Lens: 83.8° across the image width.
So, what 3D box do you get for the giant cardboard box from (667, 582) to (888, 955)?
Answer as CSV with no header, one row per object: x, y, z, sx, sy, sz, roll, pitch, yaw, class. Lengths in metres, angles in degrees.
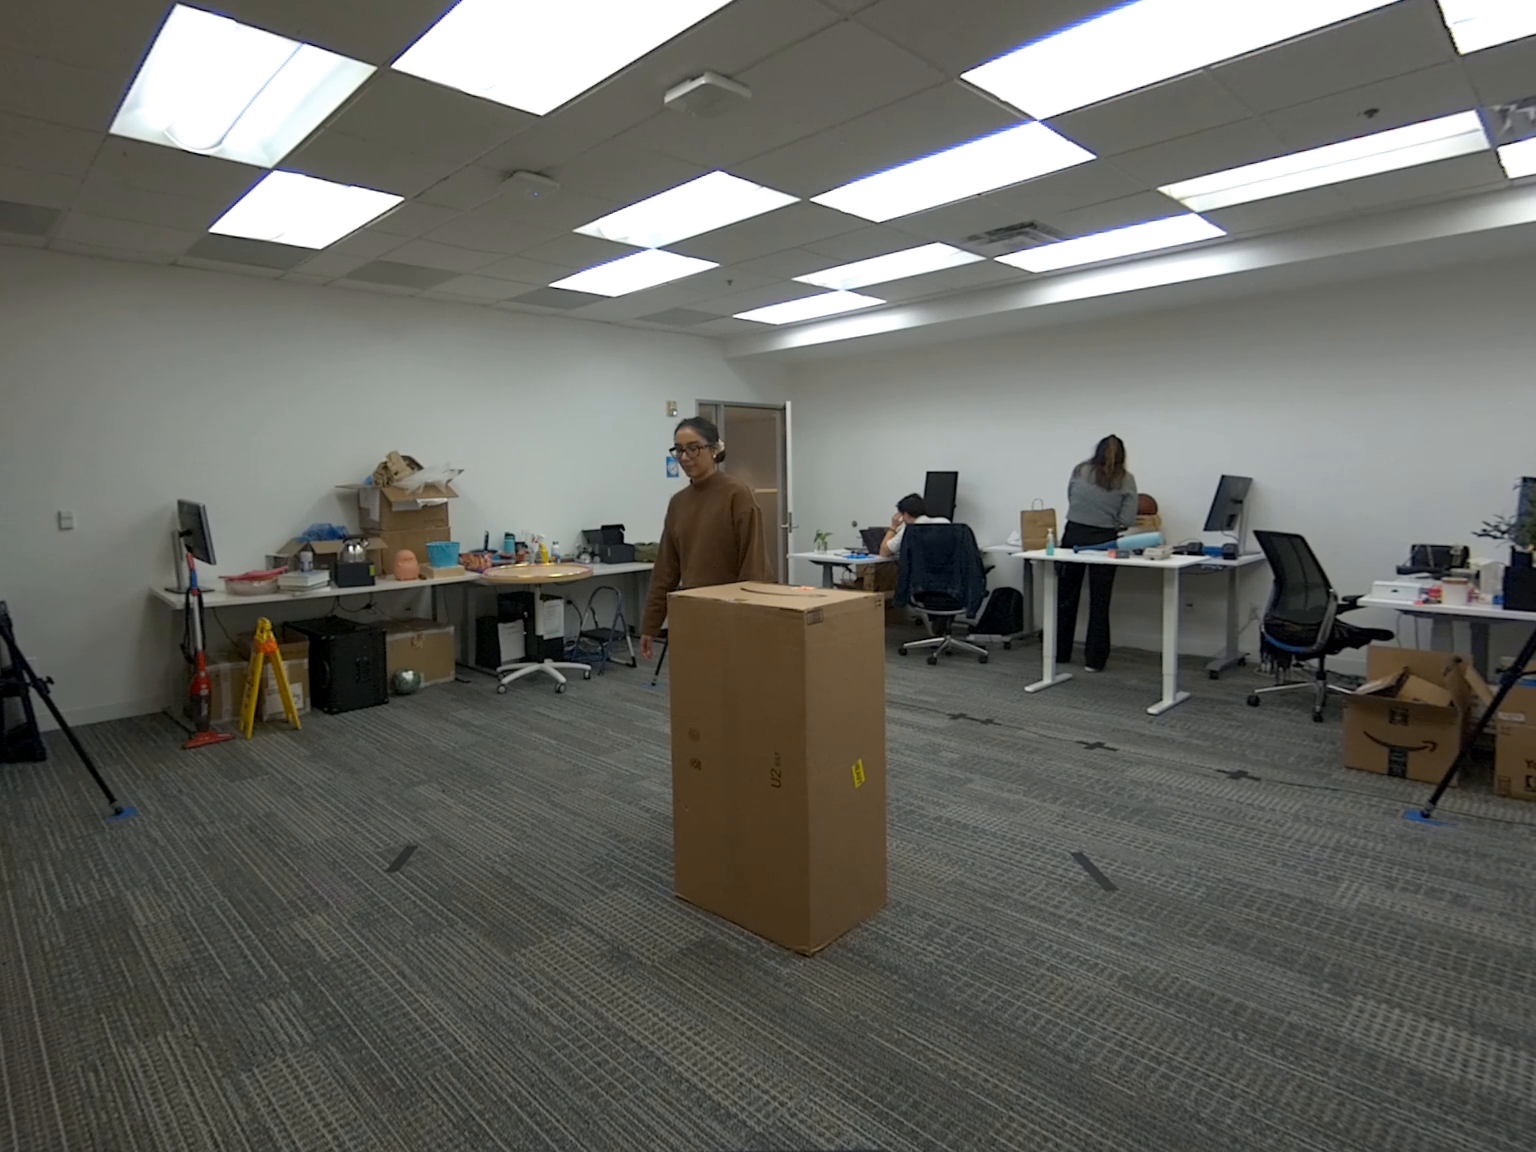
0.035,0.569,2.806,0.595,1.022,0.415,3,5,42,giant cardboard box
